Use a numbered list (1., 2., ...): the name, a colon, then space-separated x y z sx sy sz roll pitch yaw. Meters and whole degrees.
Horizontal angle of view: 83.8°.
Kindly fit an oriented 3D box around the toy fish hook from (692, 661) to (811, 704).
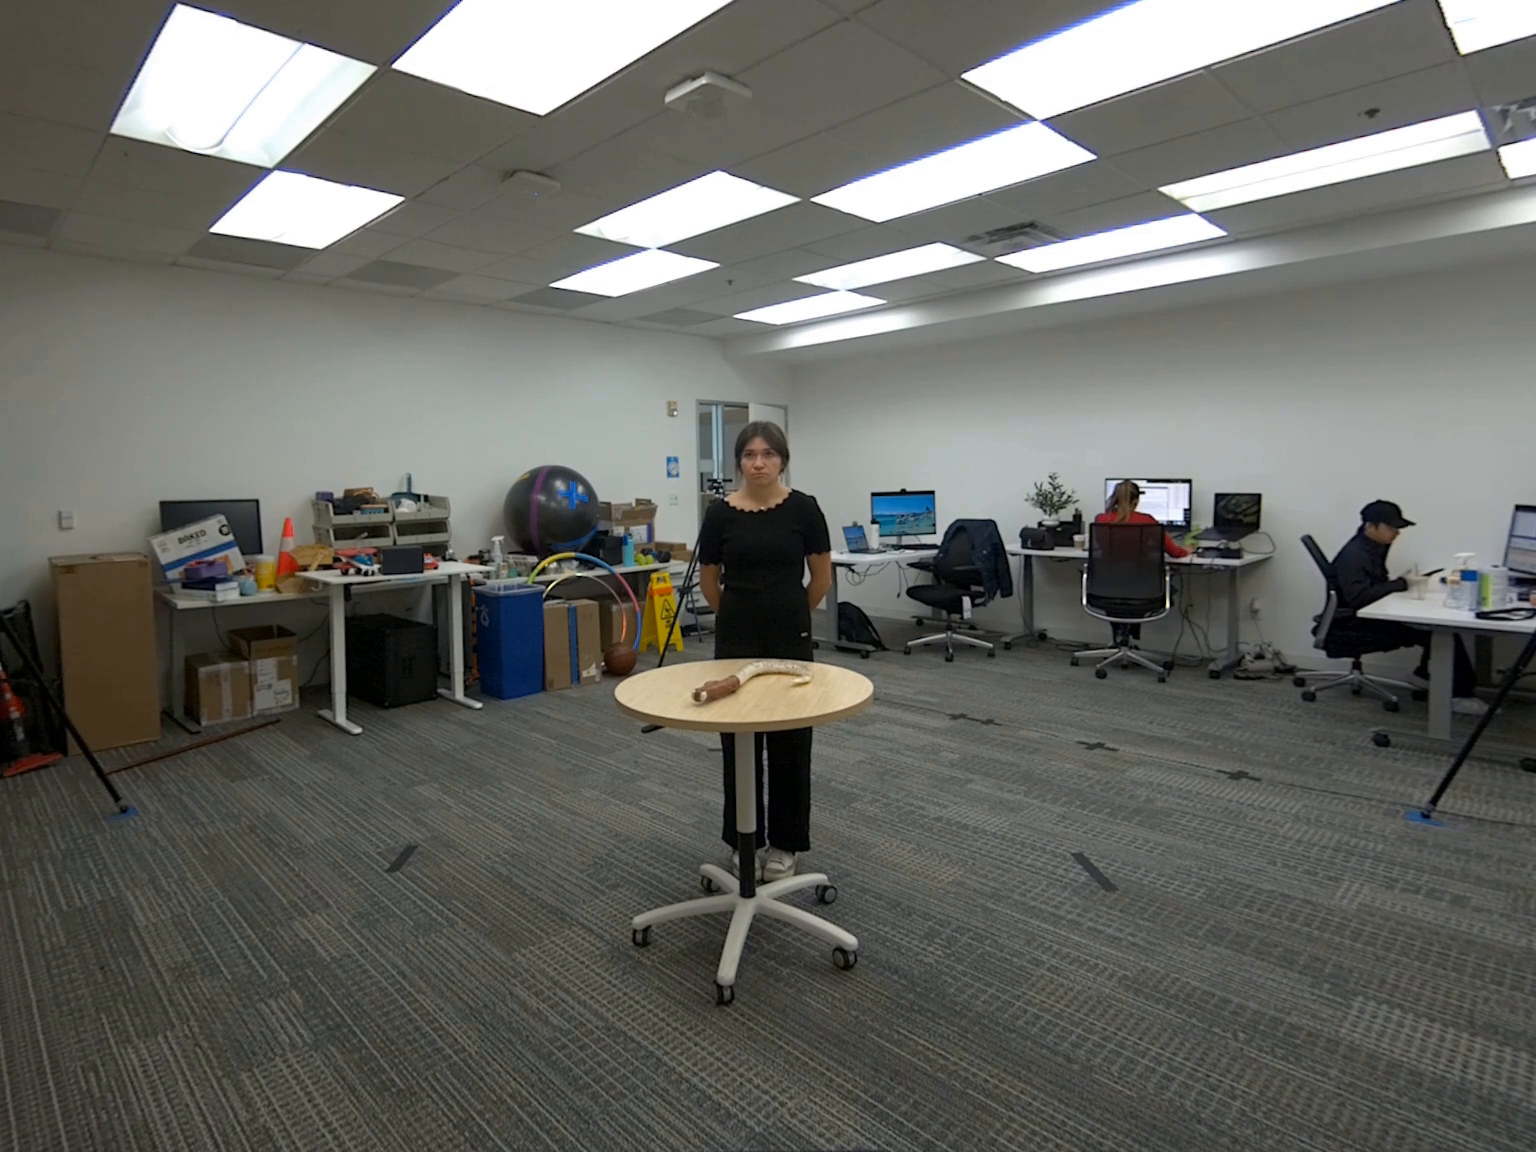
1. toy fish hook: -0.026 0.313 2.501 0.230 0.048 0.495 -3 4 29
